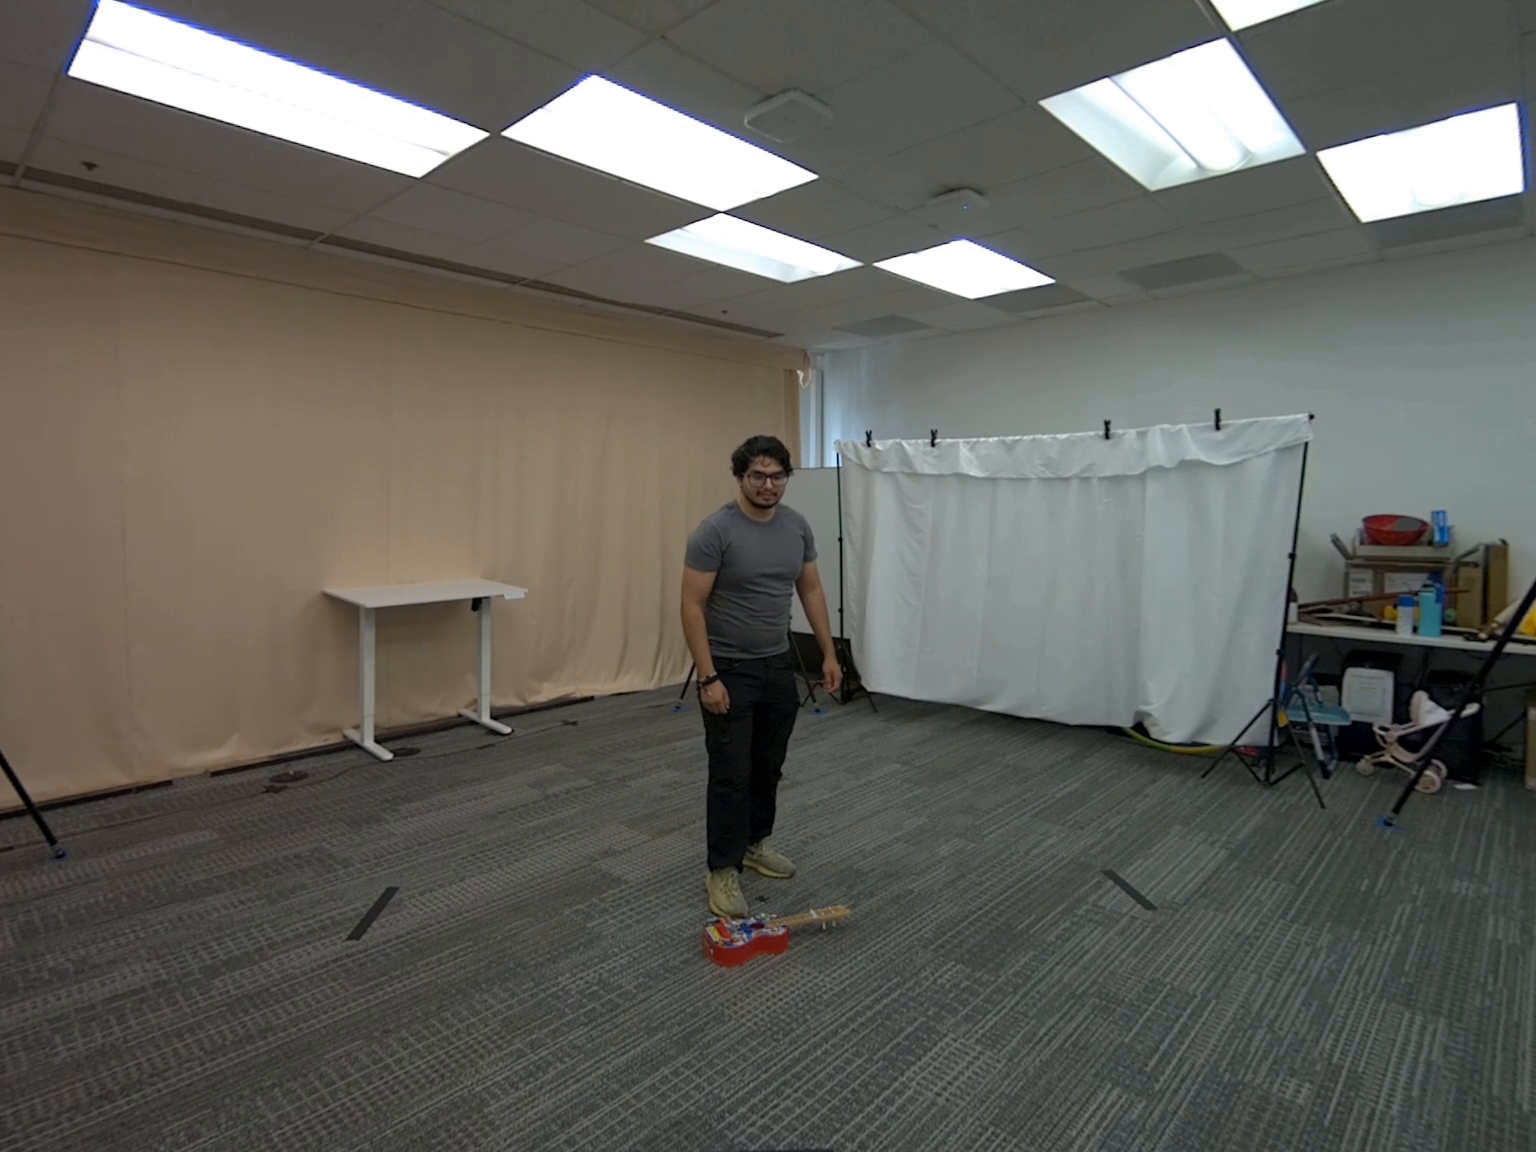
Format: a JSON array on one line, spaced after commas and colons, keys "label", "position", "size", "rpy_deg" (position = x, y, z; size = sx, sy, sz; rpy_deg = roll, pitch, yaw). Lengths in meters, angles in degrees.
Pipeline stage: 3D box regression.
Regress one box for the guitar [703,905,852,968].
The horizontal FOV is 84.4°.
[{"label": "guitar", "position": [0.046, 1.130, 2.674], "size": [0.492, 0.070, 0.195], "rpy_deg": [-1, 5, -10]}]
